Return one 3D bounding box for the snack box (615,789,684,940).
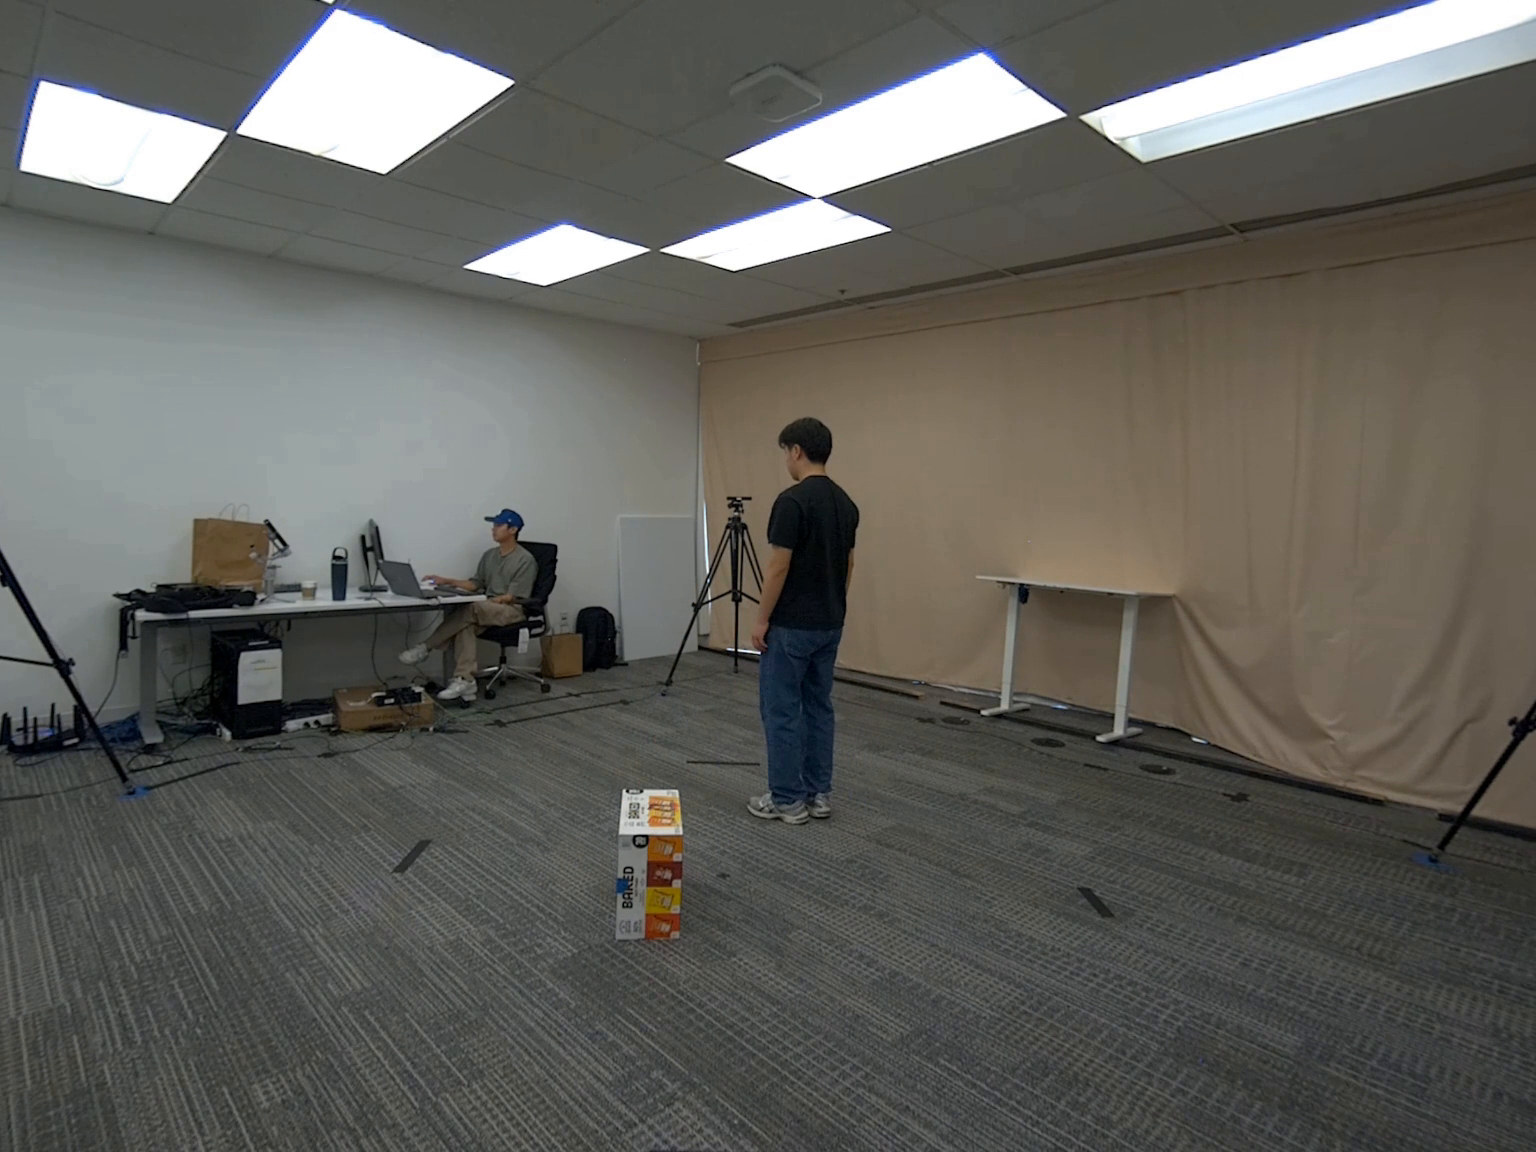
[{"bbox_3d":[-0.406,0.956,2.827,0.204,0.339,0.408,3,4,-8],"label":"snack box"}]
